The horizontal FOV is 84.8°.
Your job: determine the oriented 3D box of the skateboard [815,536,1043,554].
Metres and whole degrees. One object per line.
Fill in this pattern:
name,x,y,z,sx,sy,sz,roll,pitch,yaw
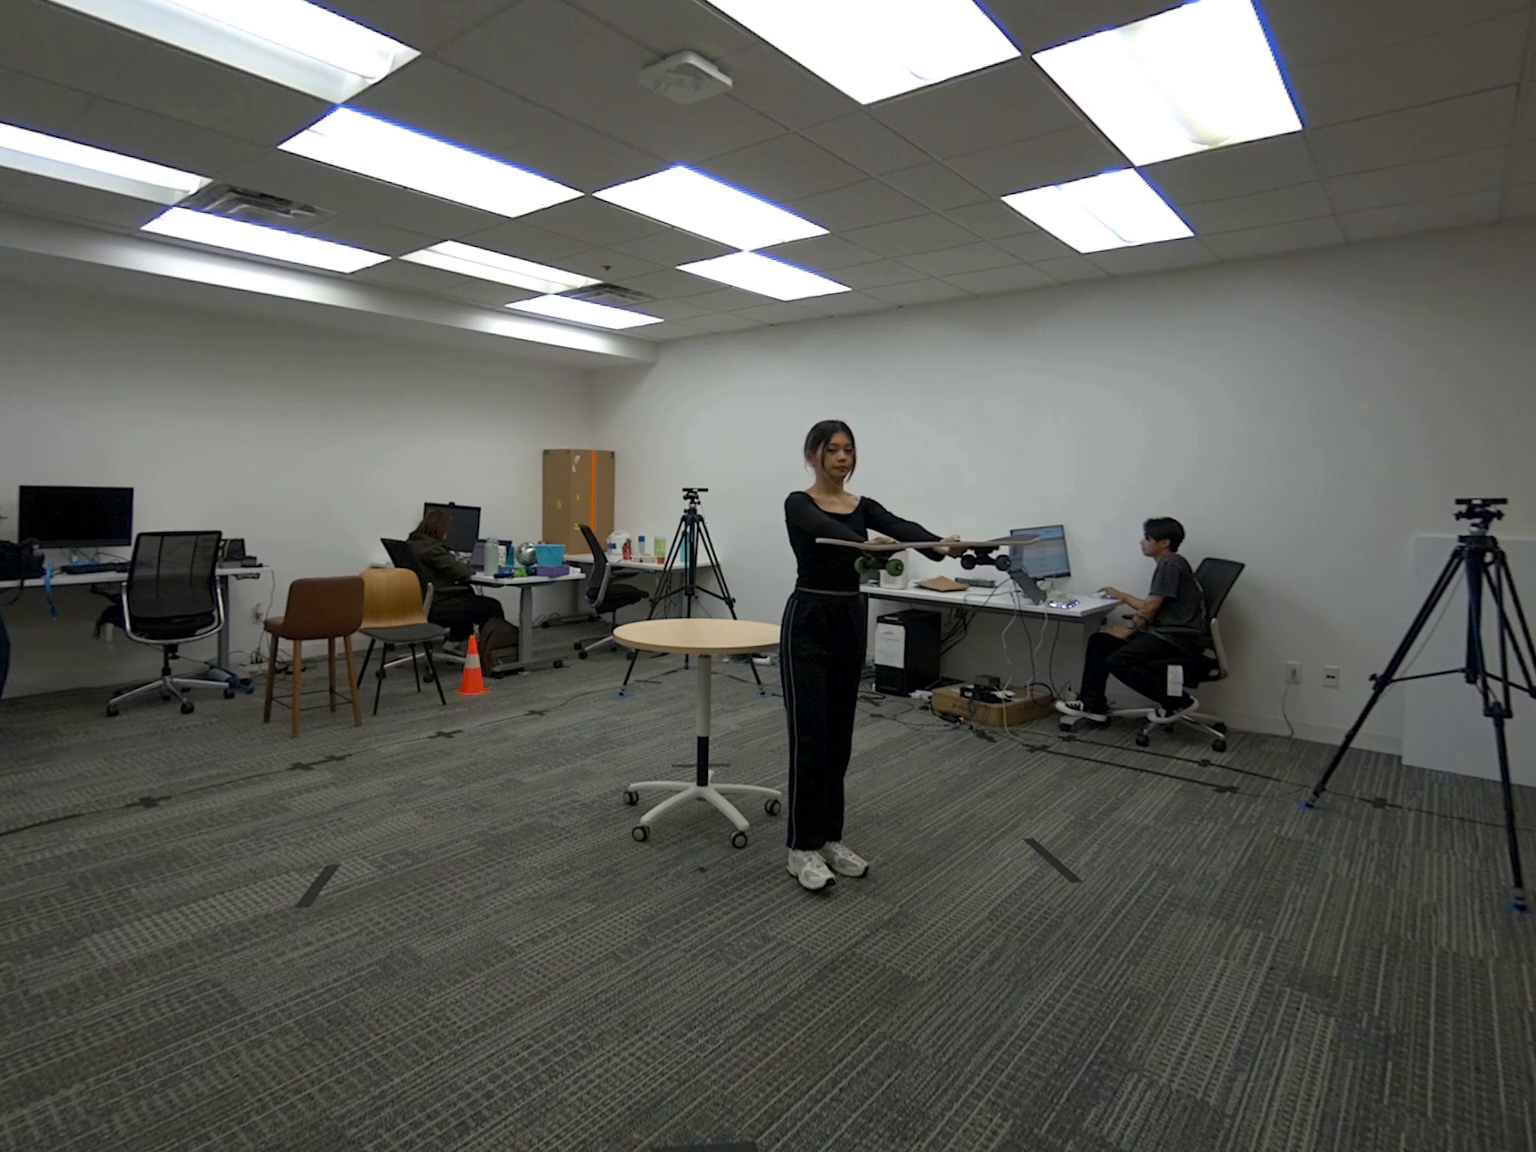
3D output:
skateboard,0.492,-0.067,2.540,0.766,0.110,0.198,-2,3,-26
